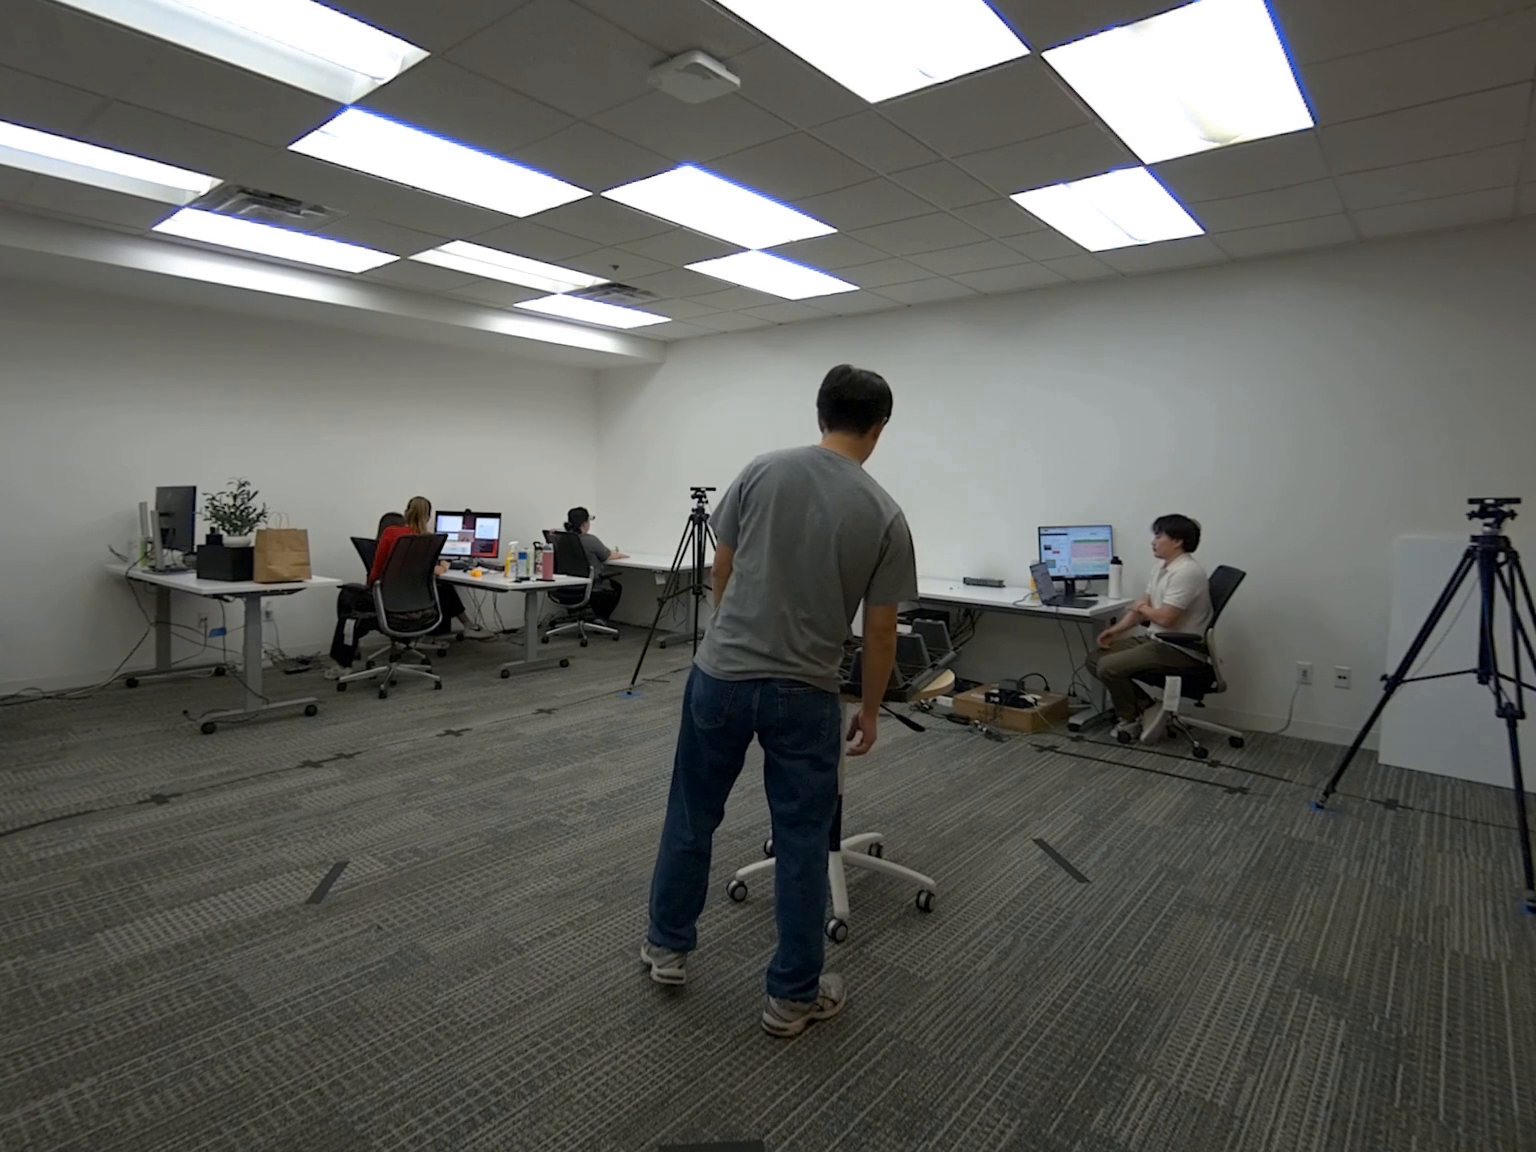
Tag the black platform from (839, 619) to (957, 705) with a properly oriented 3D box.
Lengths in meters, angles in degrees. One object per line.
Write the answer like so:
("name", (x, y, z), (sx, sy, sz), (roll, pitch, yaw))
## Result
("black platform", (0.282, 0.246, 2.945), (0.622, 0.142, 0.788), (5, 7, 25))
